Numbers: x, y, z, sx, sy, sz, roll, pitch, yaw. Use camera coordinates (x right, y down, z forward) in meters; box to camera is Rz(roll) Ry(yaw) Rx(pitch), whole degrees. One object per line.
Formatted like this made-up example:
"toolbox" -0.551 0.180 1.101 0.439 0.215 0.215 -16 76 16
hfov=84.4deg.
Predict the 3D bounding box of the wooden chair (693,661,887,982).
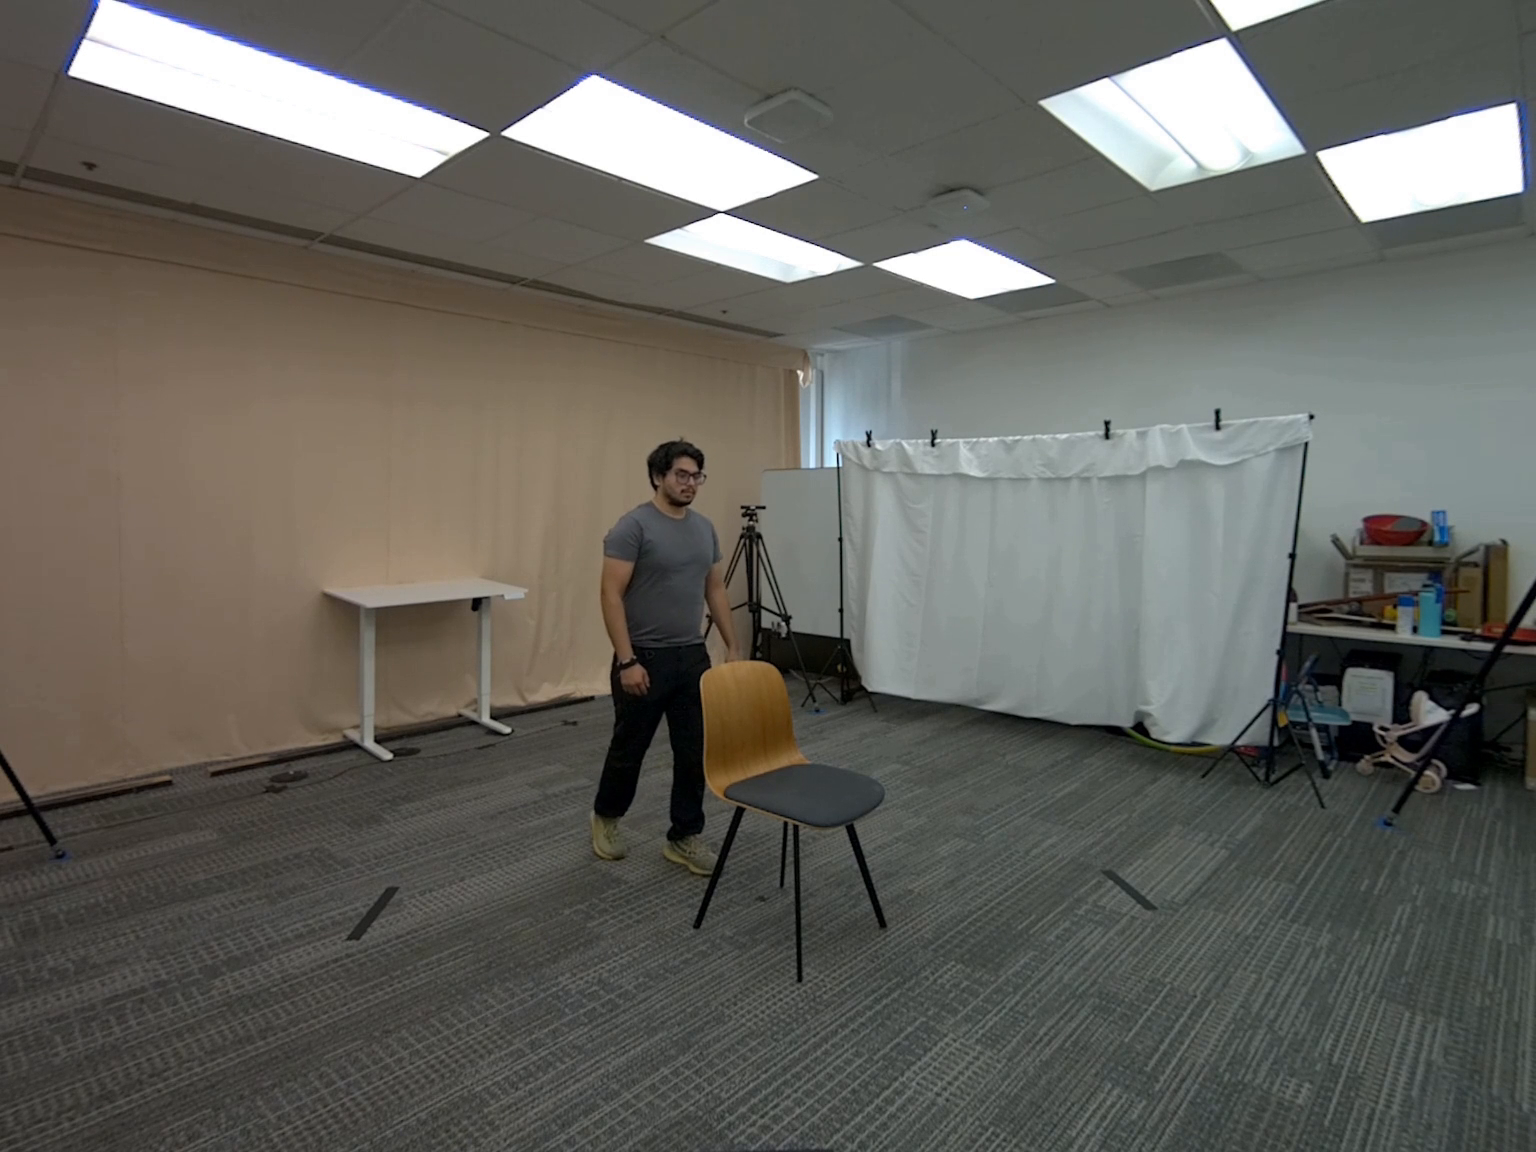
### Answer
"wooden chair" 0.086 0.738 2.737 0.539 0.877 0.463 -3 0 43
